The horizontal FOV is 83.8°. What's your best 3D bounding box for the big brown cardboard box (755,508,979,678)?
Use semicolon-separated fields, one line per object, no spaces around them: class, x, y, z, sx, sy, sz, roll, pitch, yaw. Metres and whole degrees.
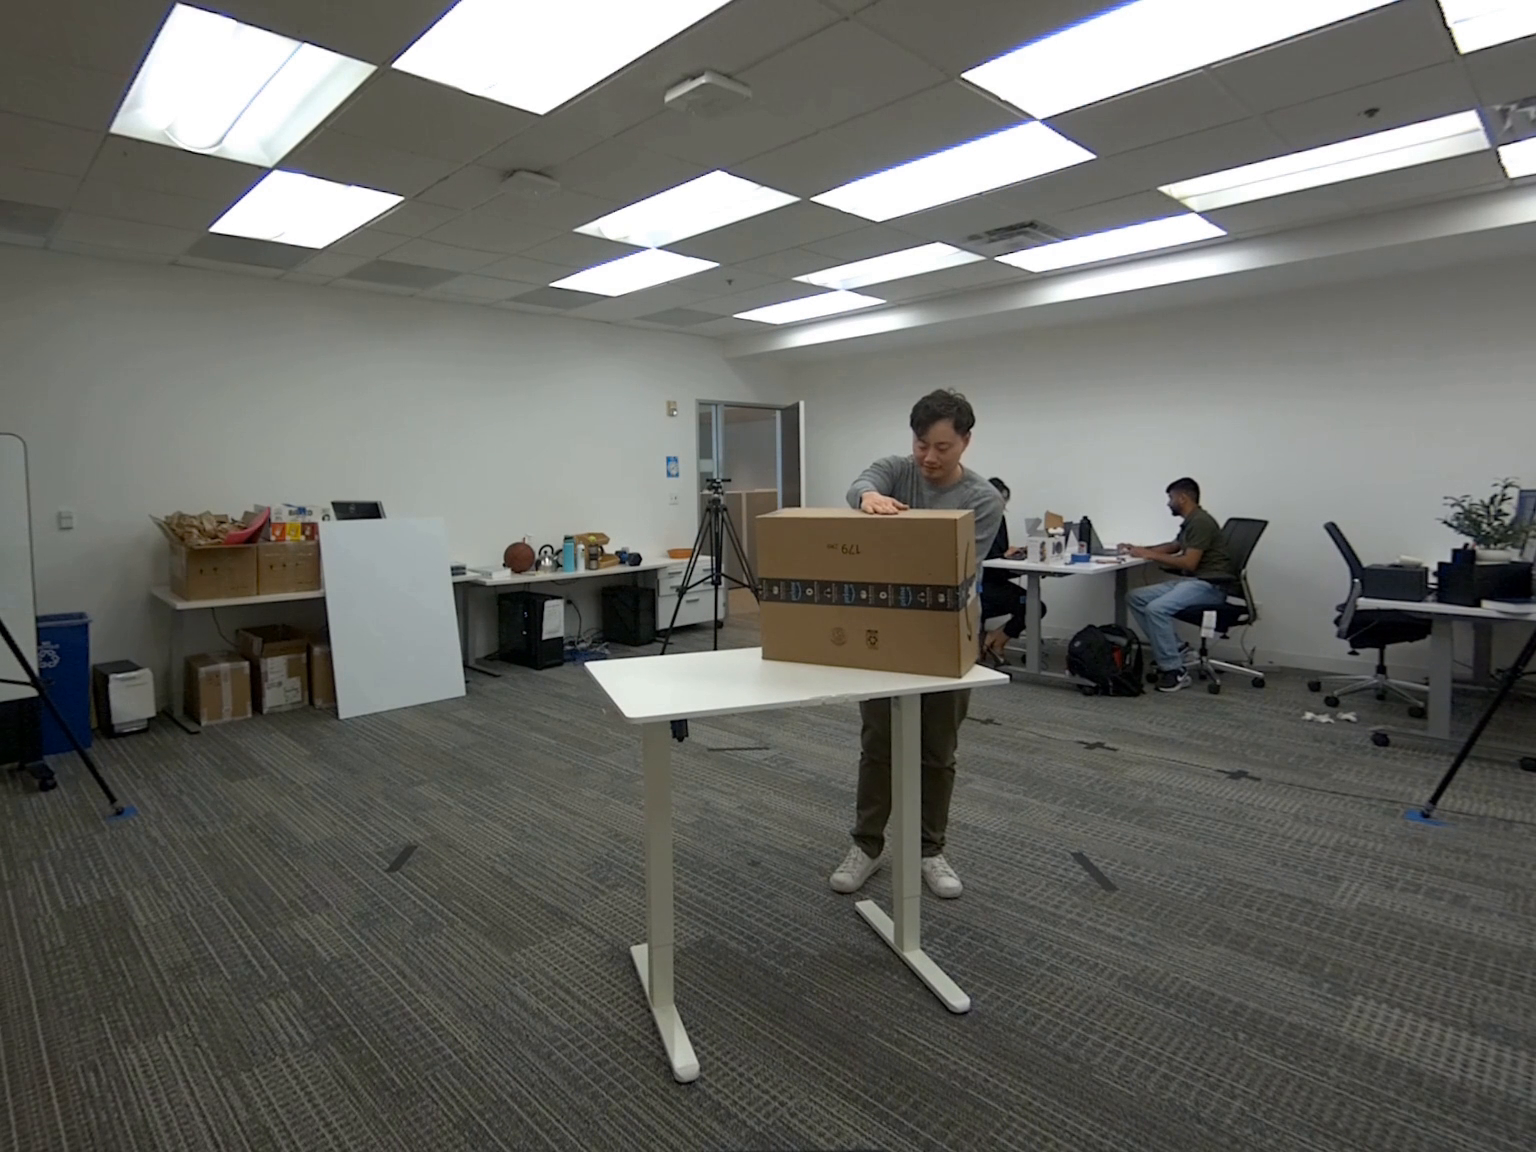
big brown cardboard box;0.266;0.030;2.382;0.604;0.414;0.229;2;9;28
